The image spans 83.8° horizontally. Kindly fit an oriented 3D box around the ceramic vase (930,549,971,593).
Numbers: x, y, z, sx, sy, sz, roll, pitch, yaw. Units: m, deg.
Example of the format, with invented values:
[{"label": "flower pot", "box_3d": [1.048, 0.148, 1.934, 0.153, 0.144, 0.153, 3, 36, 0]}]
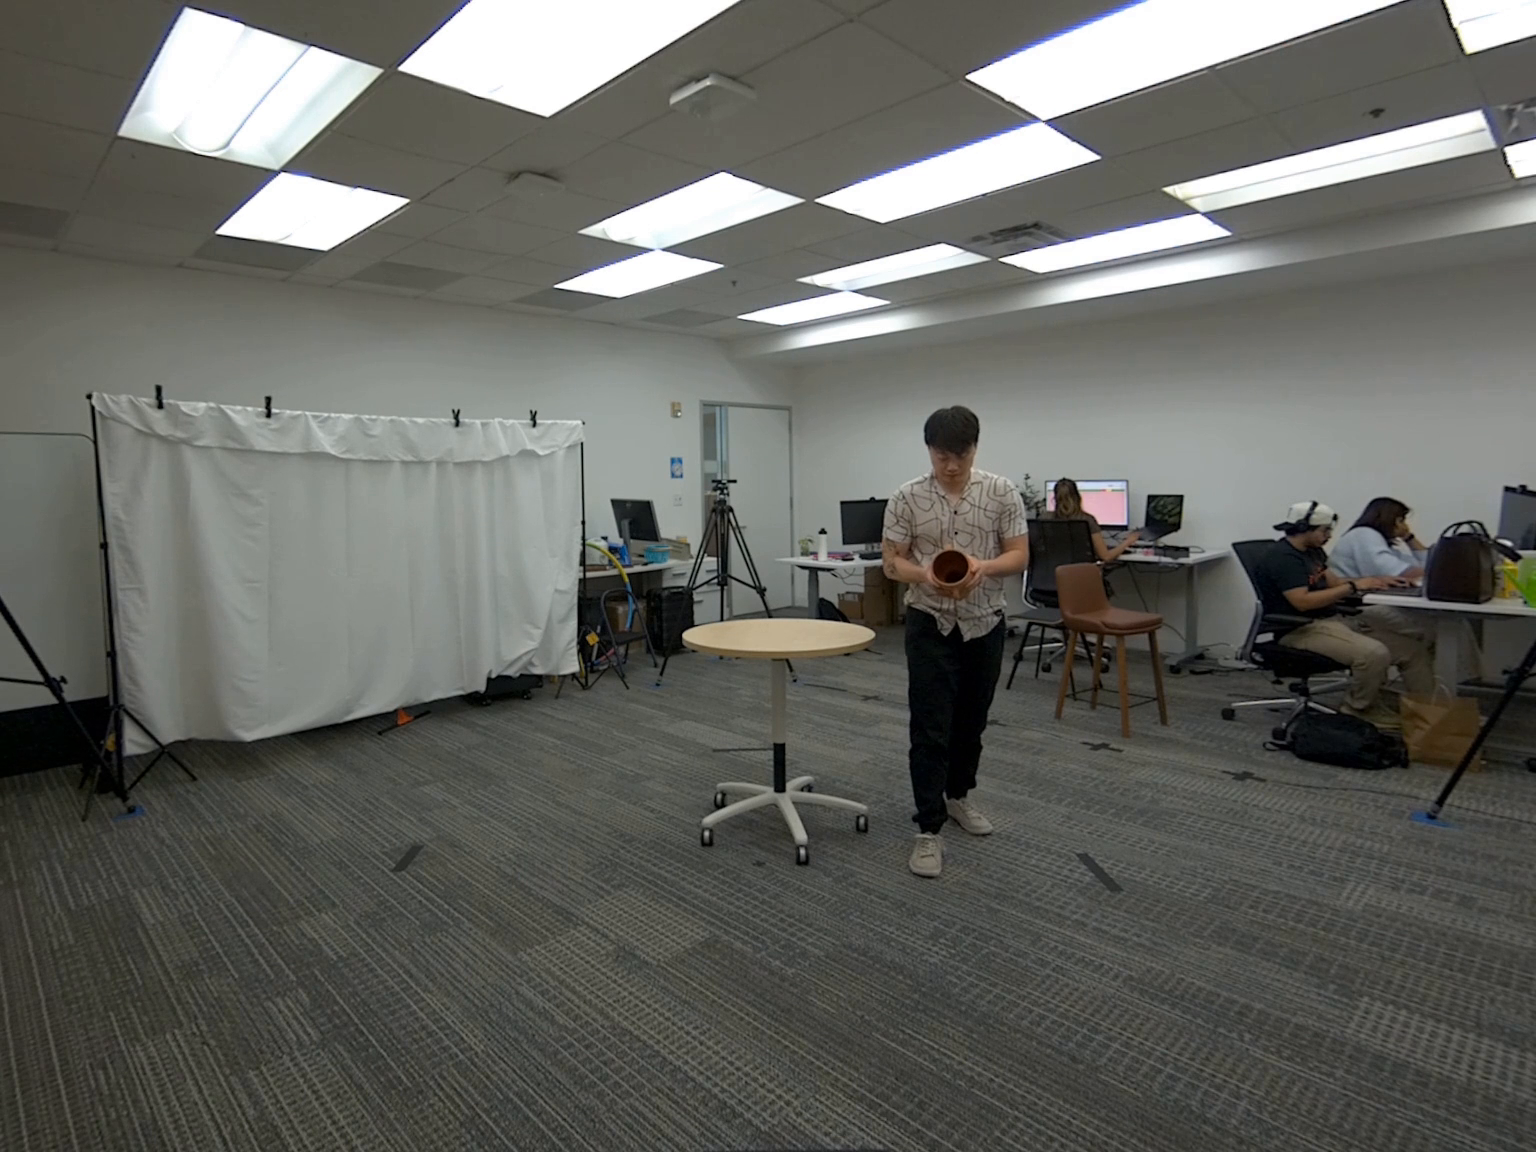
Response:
[{"label": "ceramic vase", "box_3d": [0.636, 0.005, 2.960, 0.139, 0.159, 0.212, 32, -7, 27]}]
